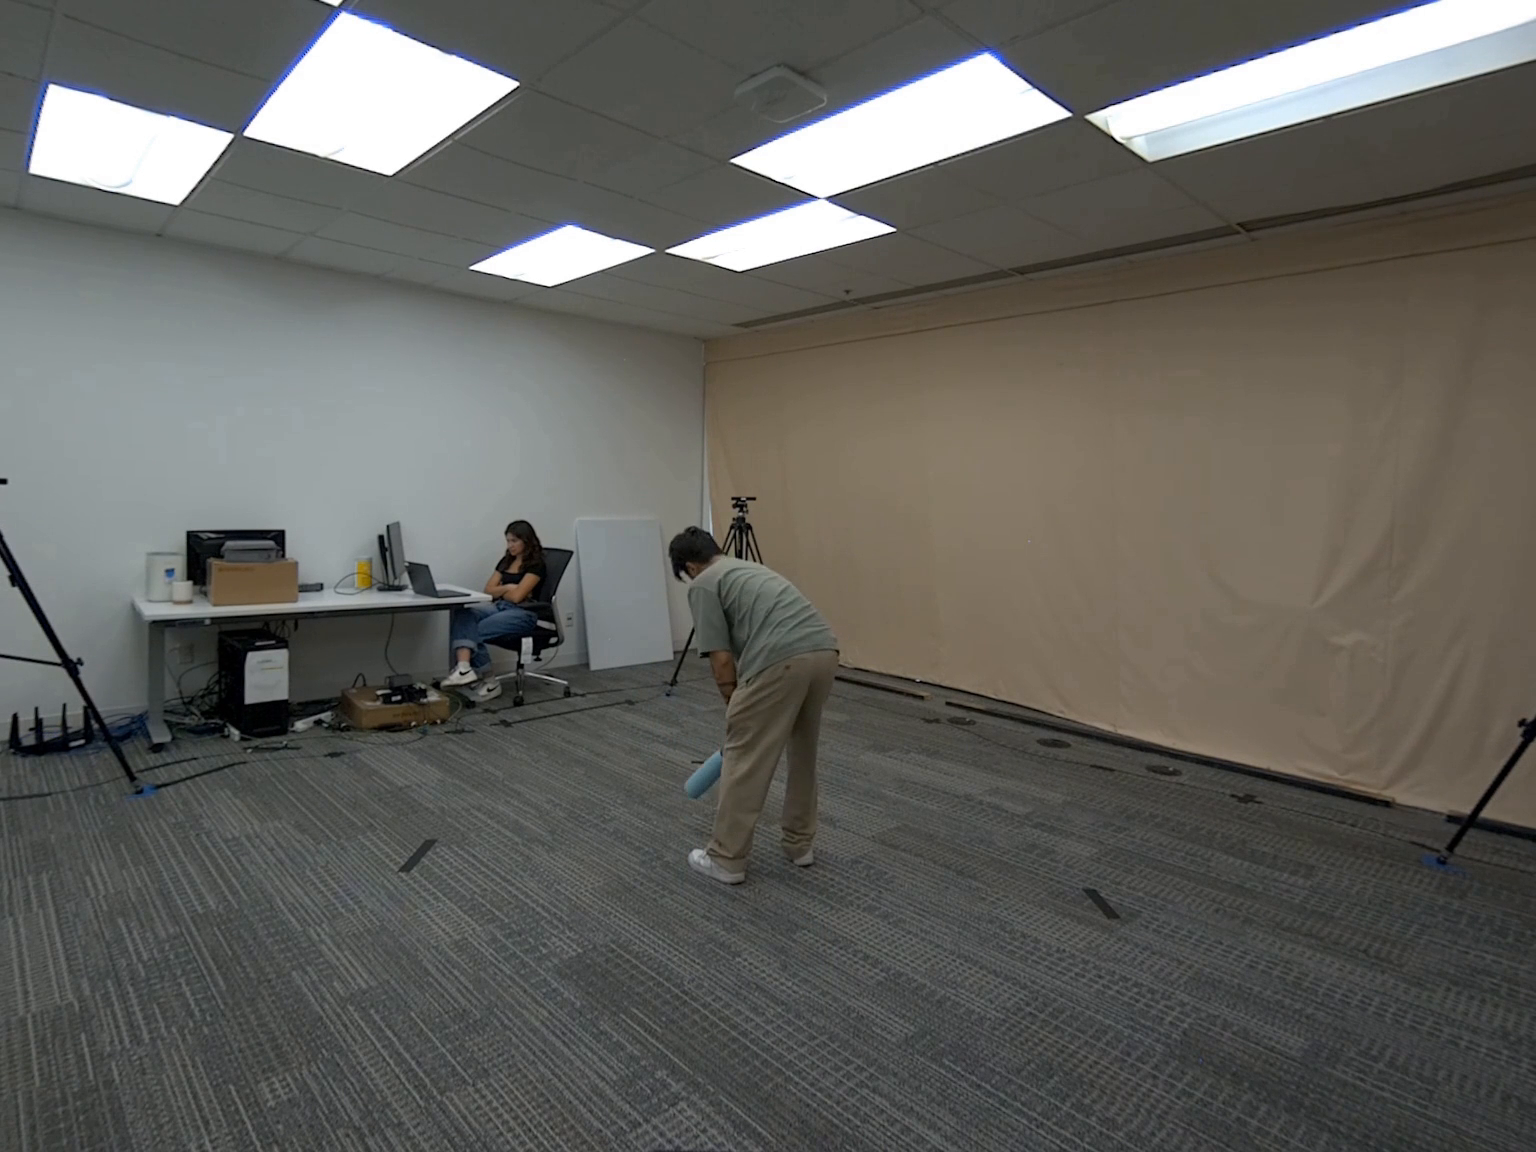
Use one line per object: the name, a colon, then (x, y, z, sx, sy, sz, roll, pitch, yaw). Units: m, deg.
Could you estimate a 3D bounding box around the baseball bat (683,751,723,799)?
baseball bat: (-0.175, 0.729, 3.491, 0.087, 0.542, 0.091, 34, 22, -18)
